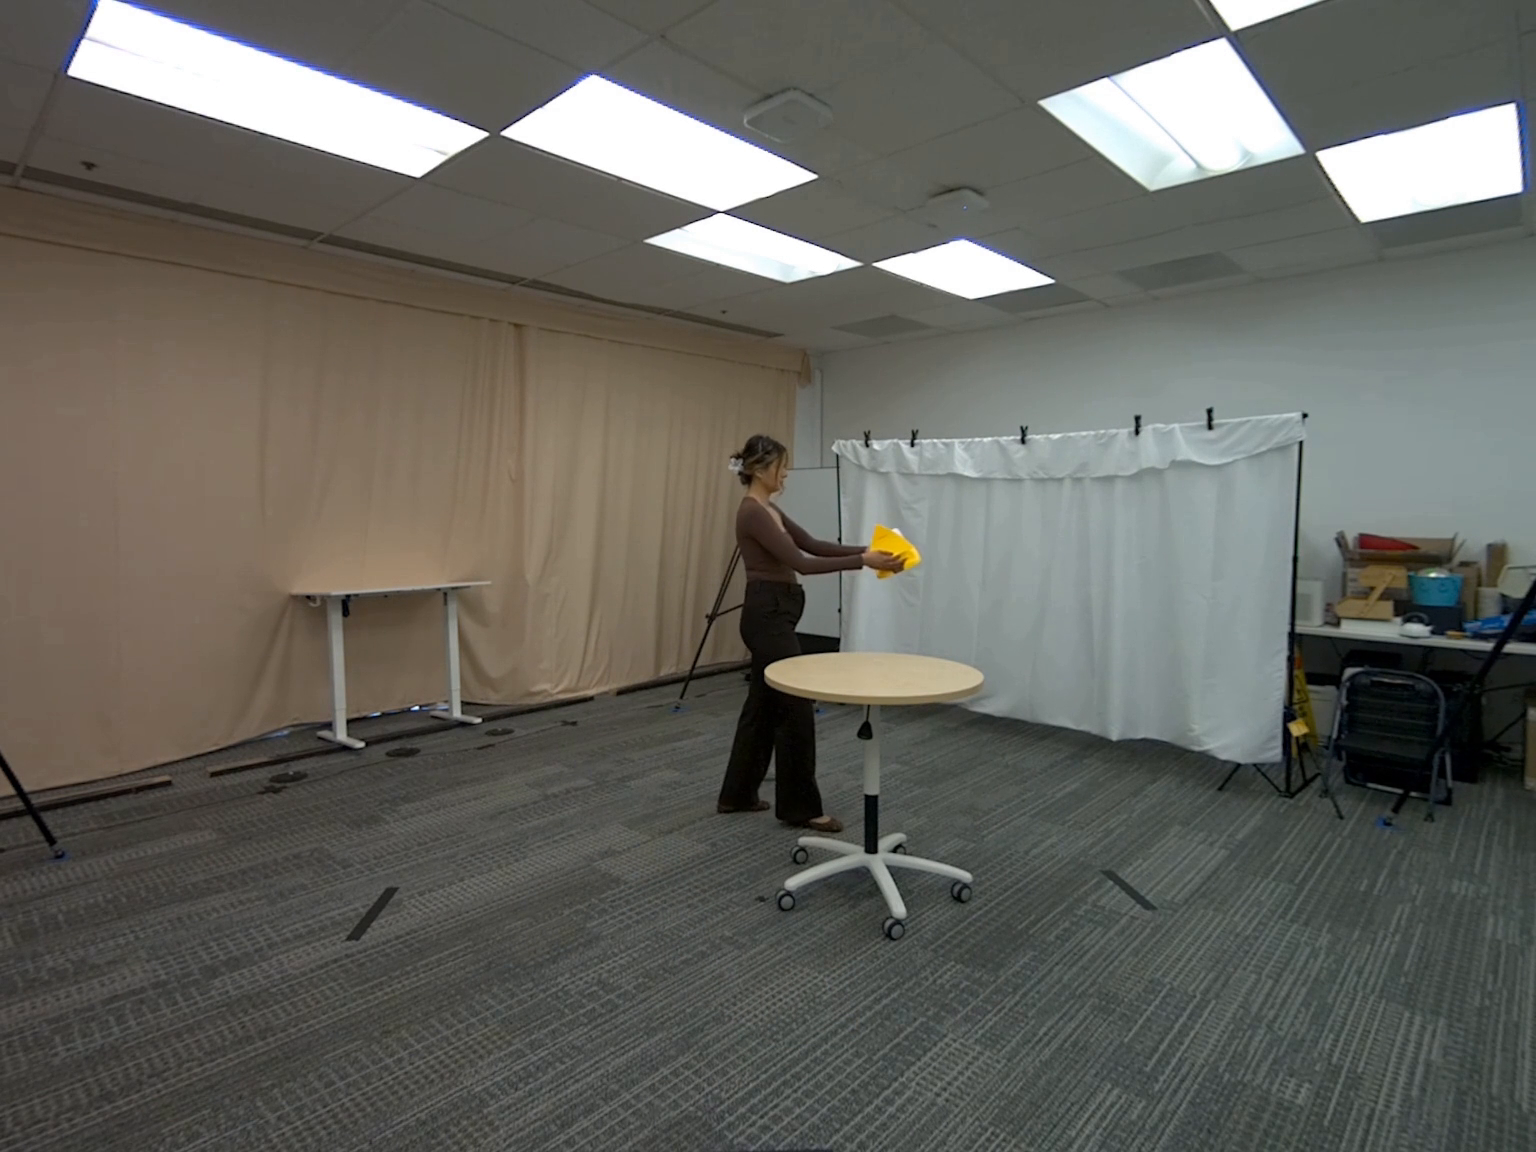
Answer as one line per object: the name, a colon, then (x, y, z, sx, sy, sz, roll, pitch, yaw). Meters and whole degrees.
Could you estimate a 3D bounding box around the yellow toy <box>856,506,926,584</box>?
yellow toy: (0.521, -0.137, 3.609, 0.207, 0.229, 0.192, -24, 8, 15)
